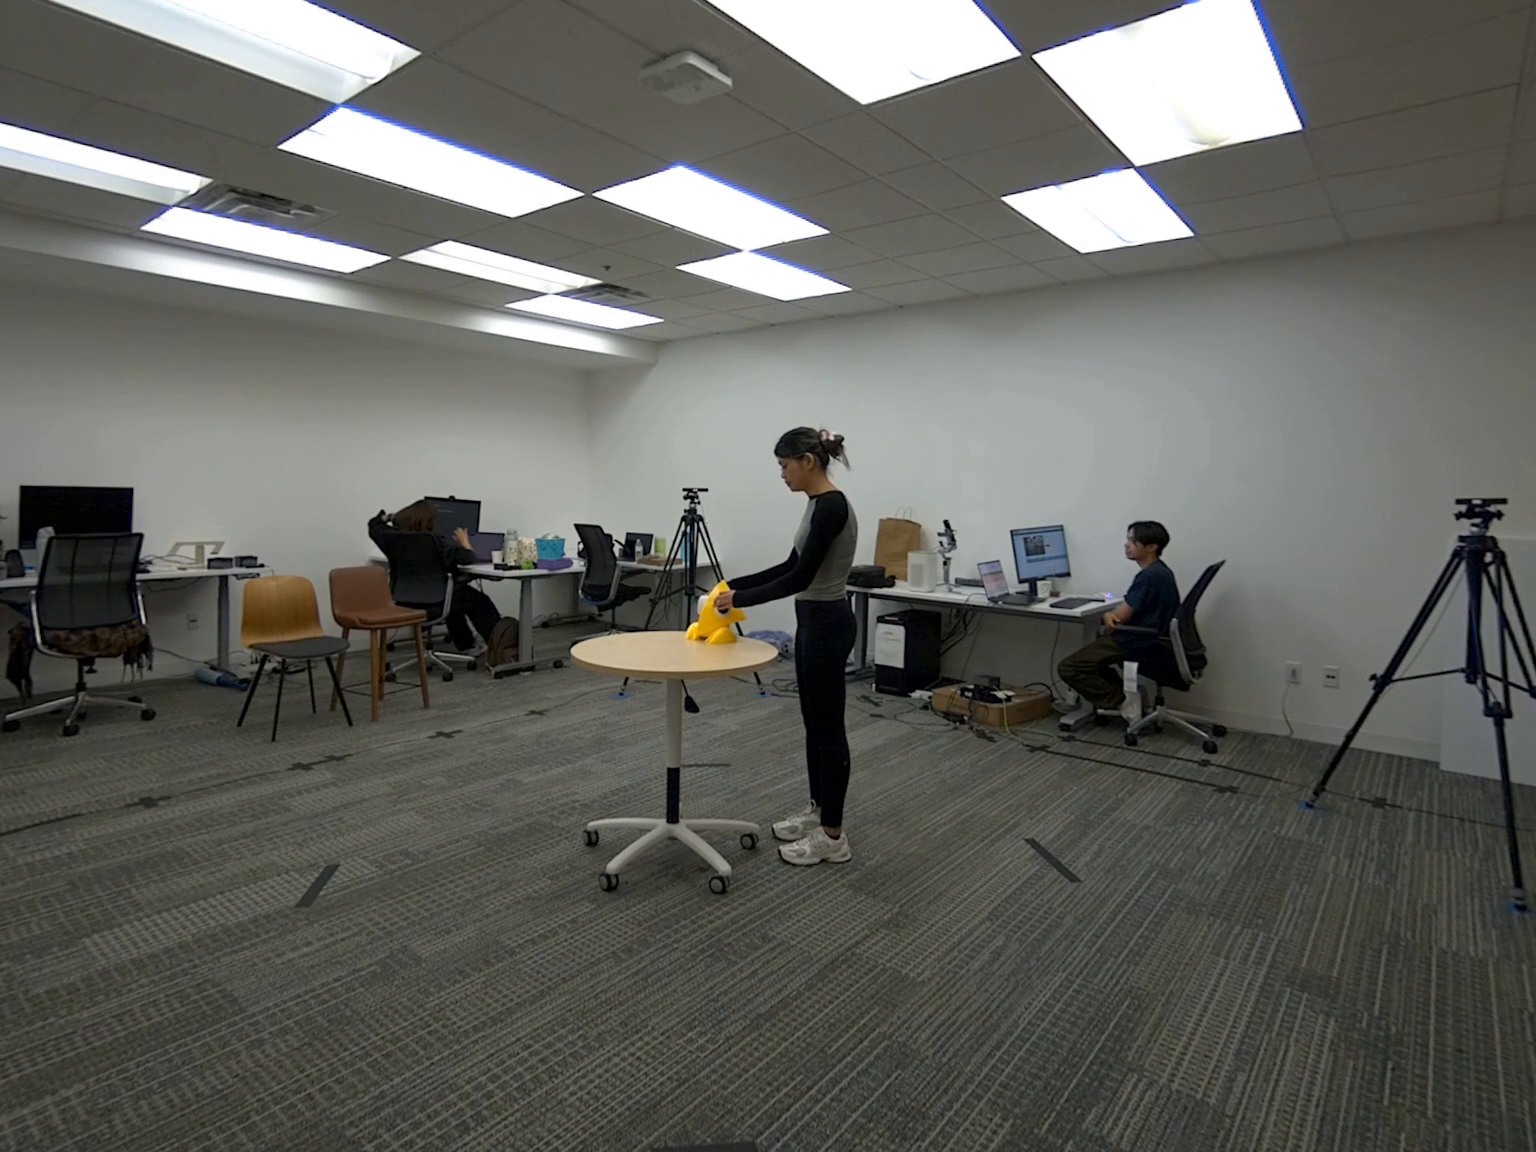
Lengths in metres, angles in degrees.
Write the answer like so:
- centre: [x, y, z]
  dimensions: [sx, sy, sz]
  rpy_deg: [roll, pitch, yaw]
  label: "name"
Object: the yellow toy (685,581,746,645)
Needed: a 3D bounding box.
- centre: [-0.228, 0.133, 3.382]
  dimensions: [0.212, 0.229, 0.187]
  rpy_deg: [5, 7, 39]
  label: "yellow toy"
